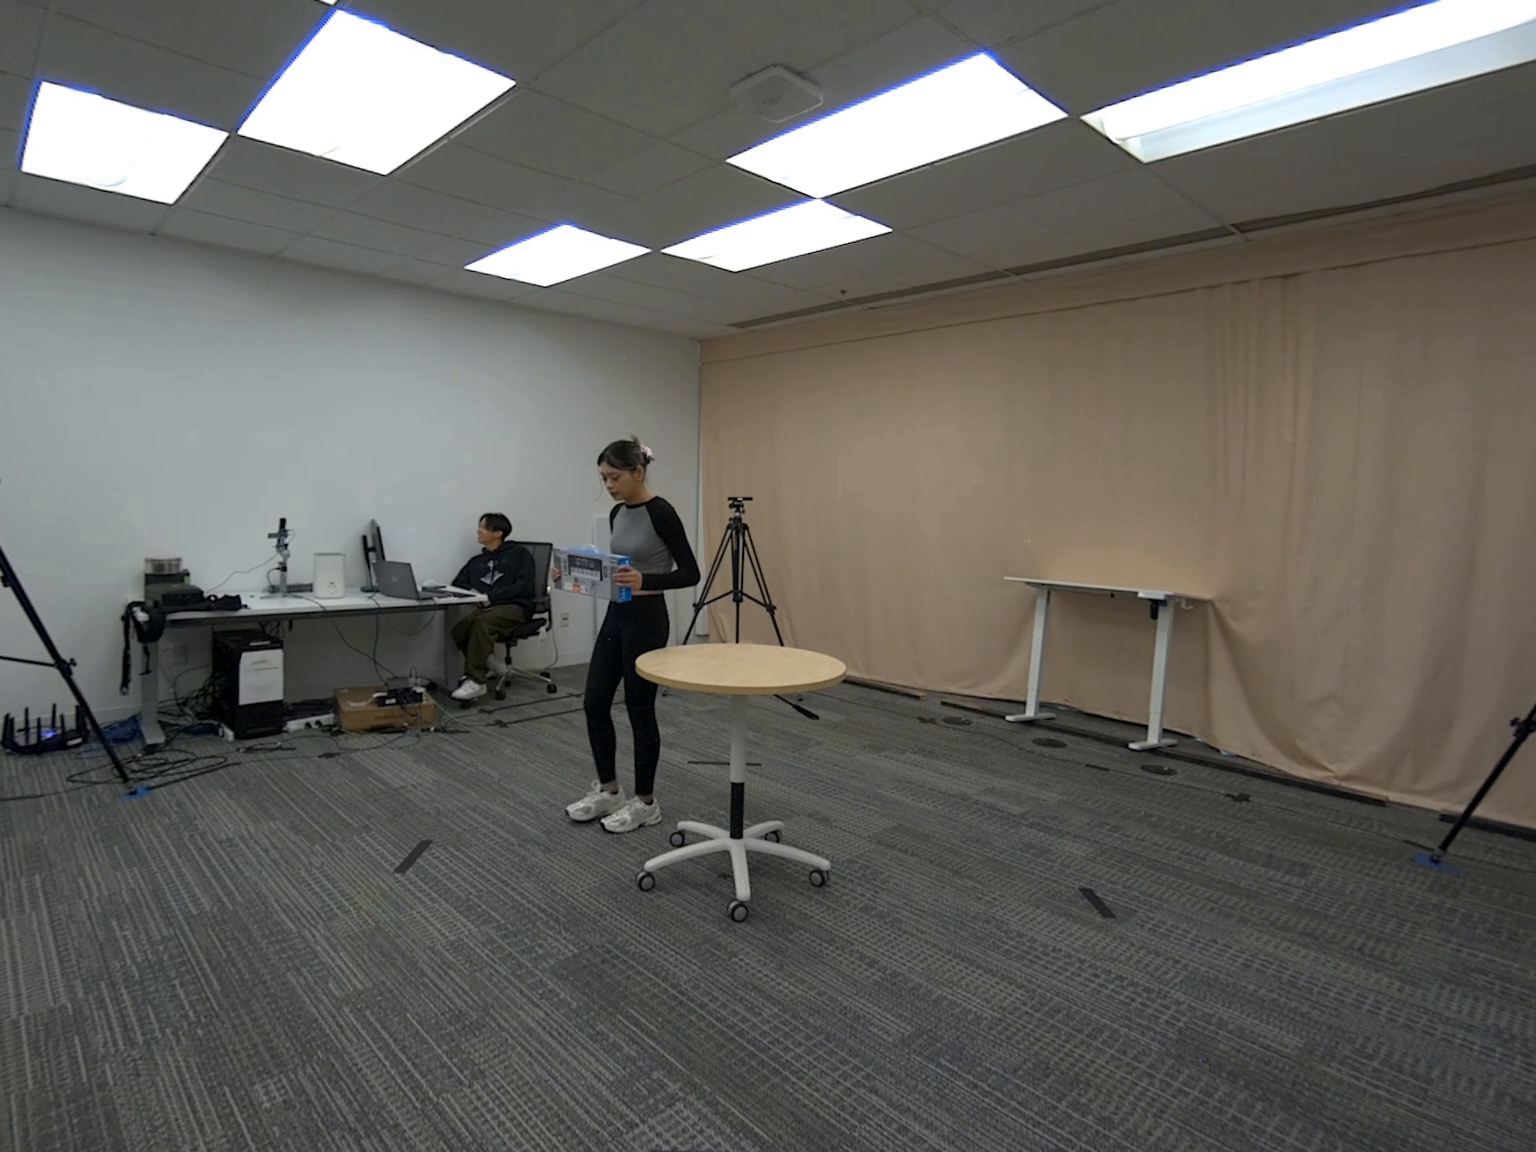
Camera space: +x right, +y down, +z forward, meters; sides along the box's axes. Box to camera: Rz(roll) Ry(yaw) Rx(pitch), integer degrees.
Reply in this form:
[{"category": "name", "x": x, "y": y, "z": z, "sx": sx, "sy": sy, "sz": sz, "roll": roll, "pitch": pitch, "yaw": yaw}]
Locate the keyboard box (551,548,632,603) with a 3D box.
[{"category": "keyboard box", "x": -0.717, "y": -0.009, "z": 3.368, "sx": 0.449, "sy": 0.175, "sz": 0.058, "roll": 10, "pitch": 12, "yaw": 44}]
